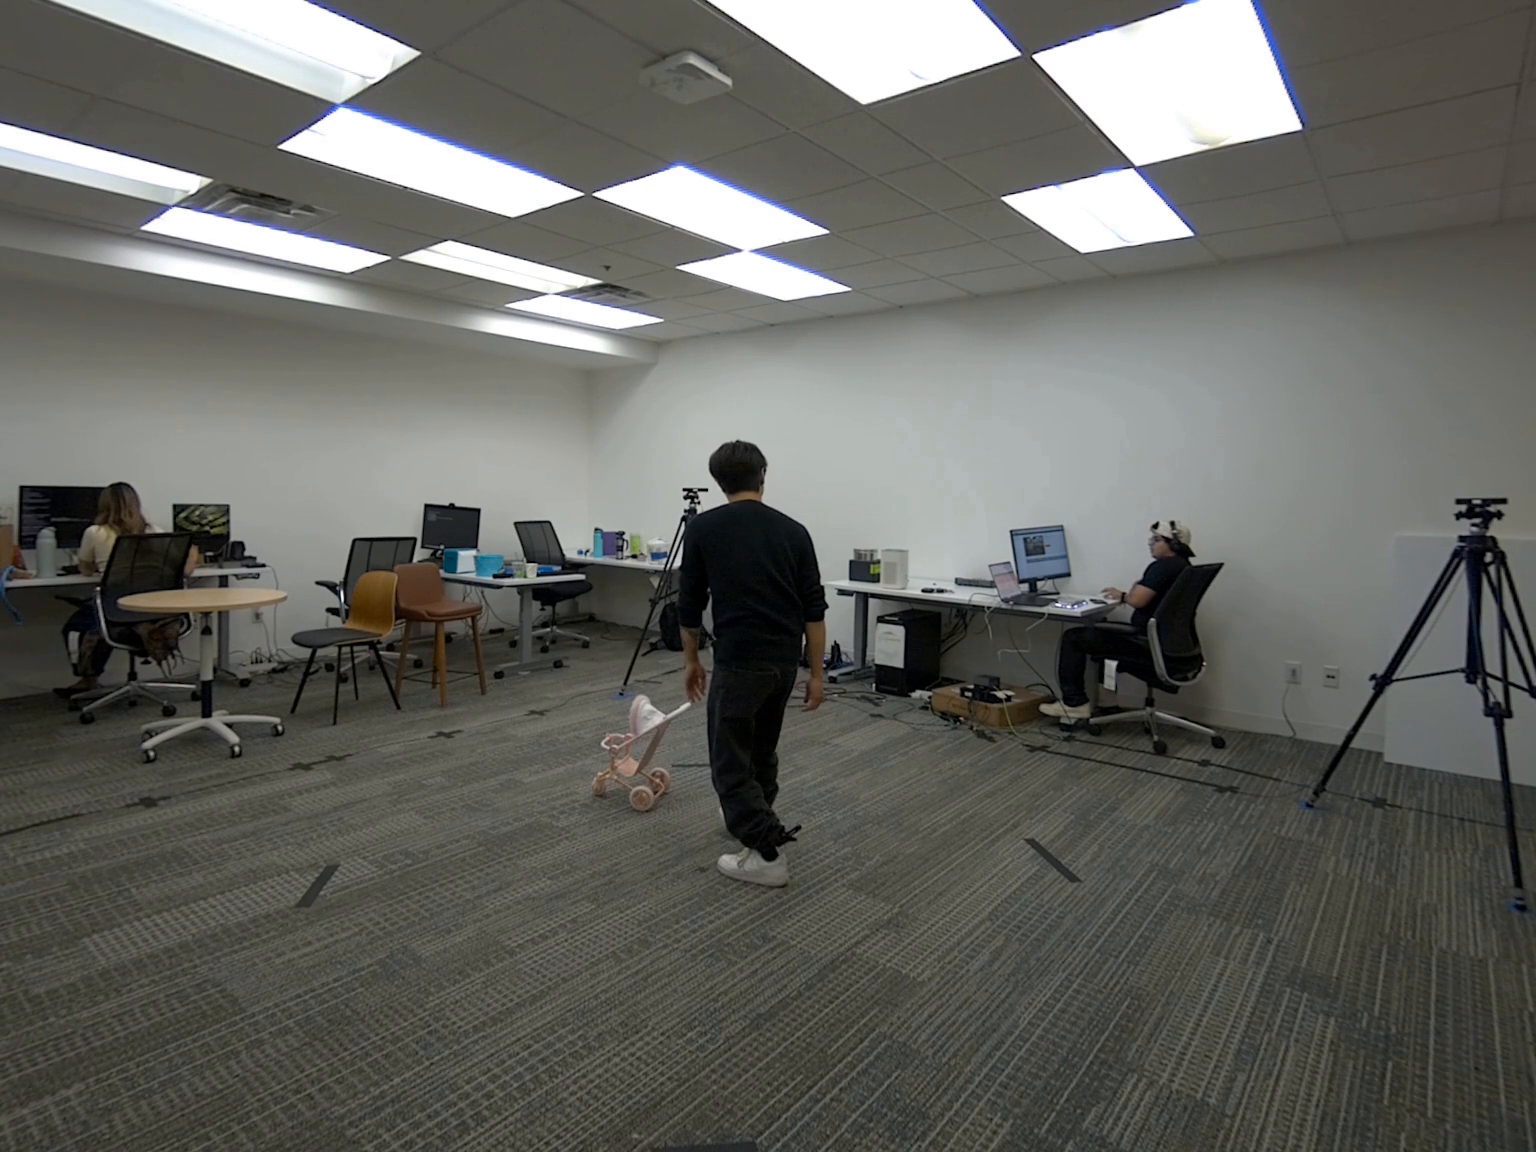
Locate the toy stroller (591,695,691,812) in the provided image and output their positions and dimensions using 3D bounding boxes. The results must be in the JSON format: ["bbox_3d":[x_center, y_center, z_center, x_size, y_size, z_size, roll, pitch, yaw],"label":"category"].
[{"bbox_3d":[-0.596,0.771,3.795,0.349,0.532,0.277,17,7,16],"label":"toy stroller"}]
